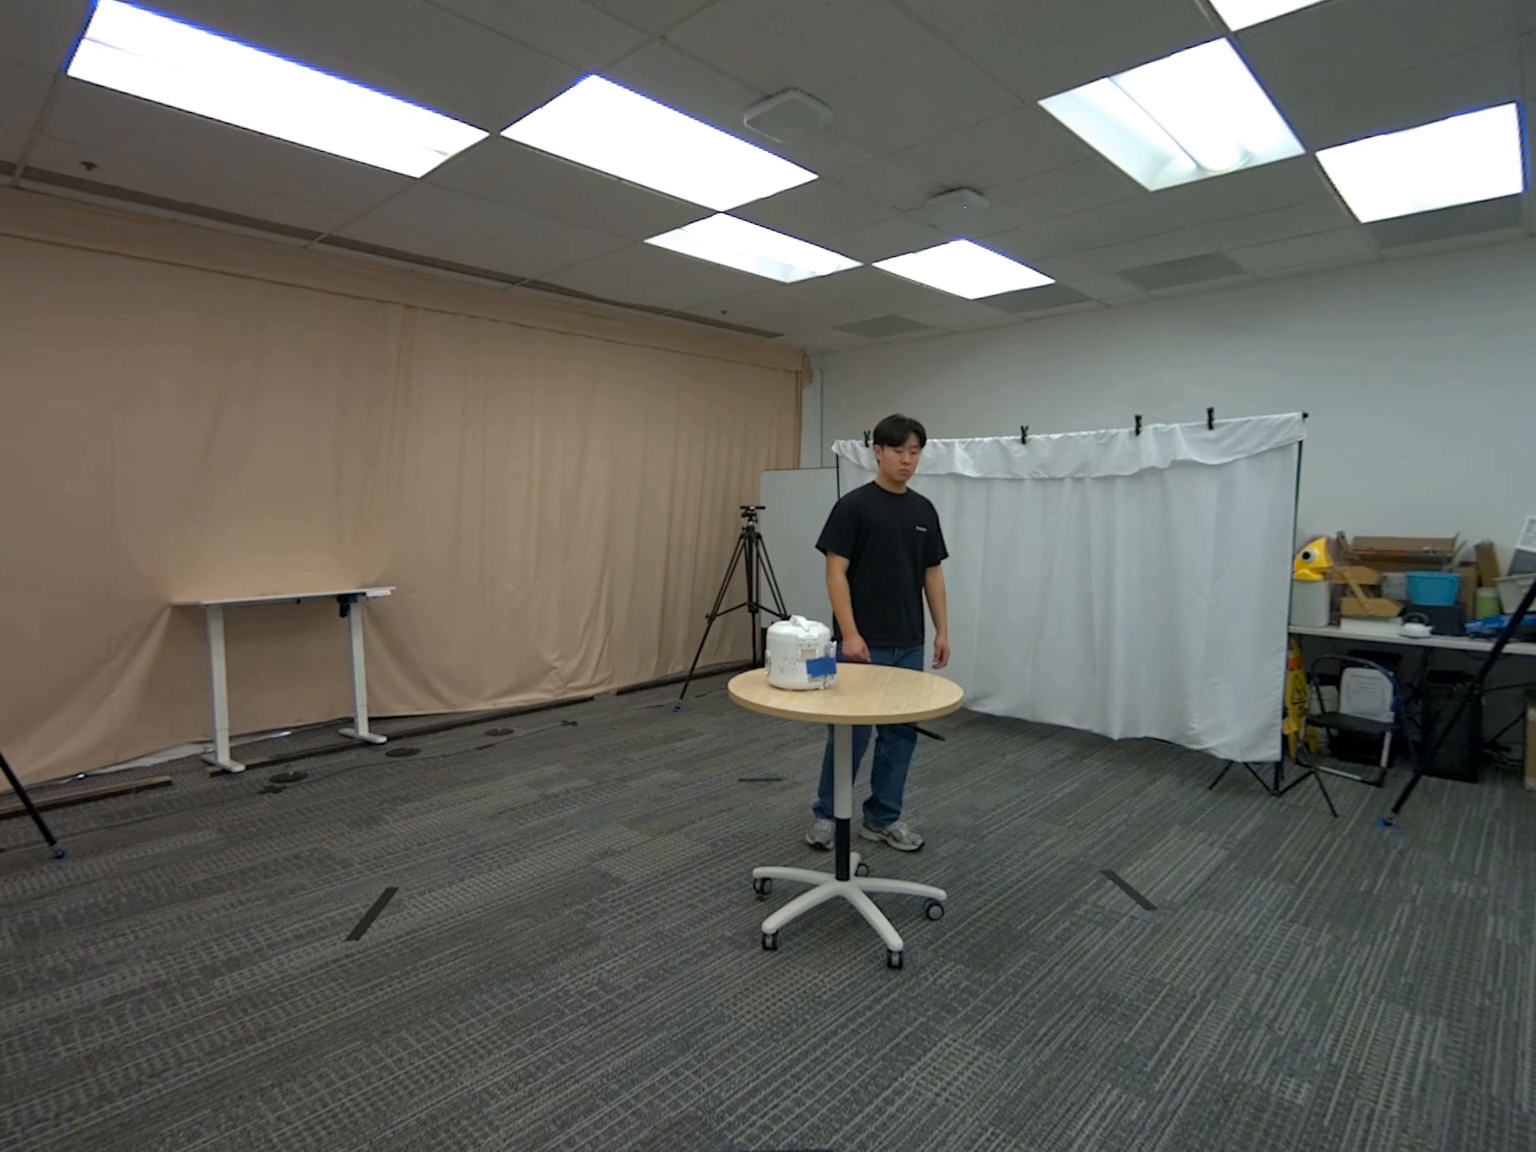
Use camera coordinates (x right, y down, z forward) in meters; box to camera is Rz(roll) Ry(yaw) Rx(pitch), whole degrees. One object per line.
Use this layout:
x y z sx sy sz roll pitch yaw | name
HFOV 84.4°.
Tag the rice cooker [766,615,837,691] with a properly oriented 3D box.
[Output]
0.102 0.246 2.783 0.214 0.232 0.224 -1 4 -13 | rice cooker
